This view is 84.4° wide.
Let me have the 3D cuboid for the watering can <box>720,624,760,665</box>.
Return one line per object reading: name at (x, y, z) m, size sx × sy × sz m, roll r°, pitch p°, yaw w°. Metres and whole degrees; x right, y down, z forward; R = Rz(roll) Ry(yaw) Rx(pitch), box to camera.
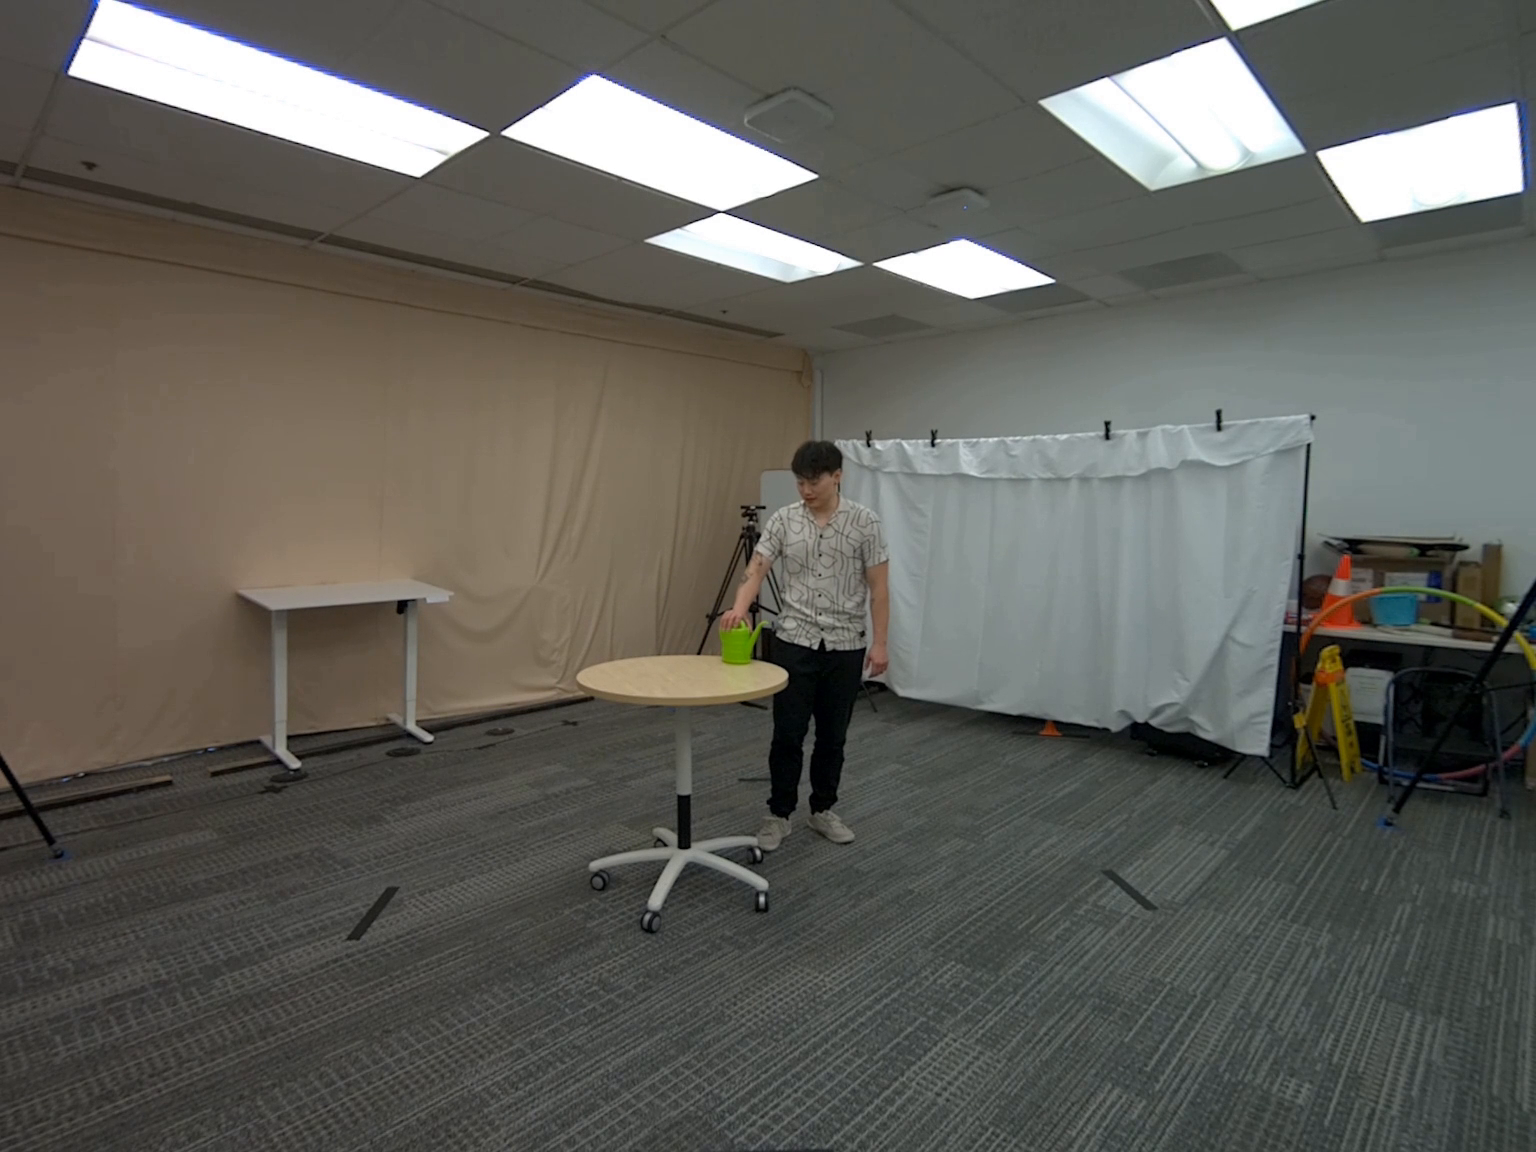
watering can at (-0.101, 0.254, 3.248) m, size 0.095 × 0.176 × 0.286 m, roll -4°, pitch 3°, yaw -29°
